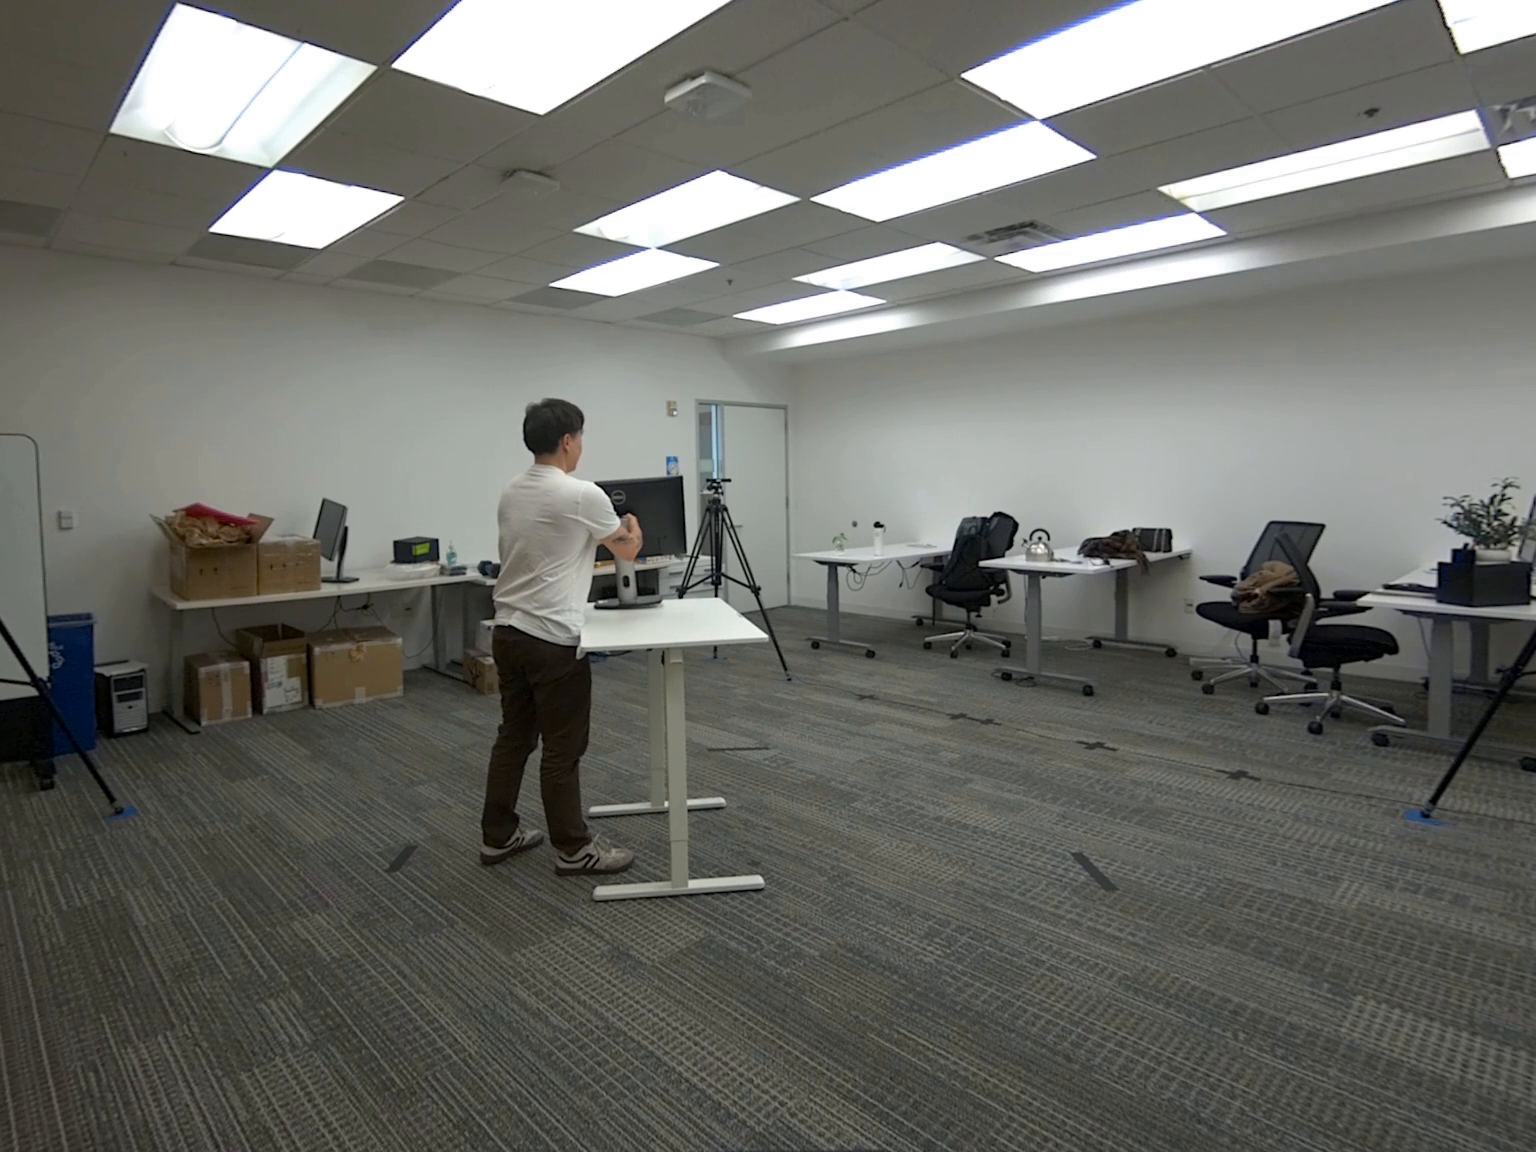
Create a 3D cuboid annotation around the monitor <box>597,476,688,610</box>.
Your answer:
[{"bbox_3d":[-0.593,-0.129,3.490,0.535,0.518,0.190,-5,9,-7],"label":"monitor"}]
